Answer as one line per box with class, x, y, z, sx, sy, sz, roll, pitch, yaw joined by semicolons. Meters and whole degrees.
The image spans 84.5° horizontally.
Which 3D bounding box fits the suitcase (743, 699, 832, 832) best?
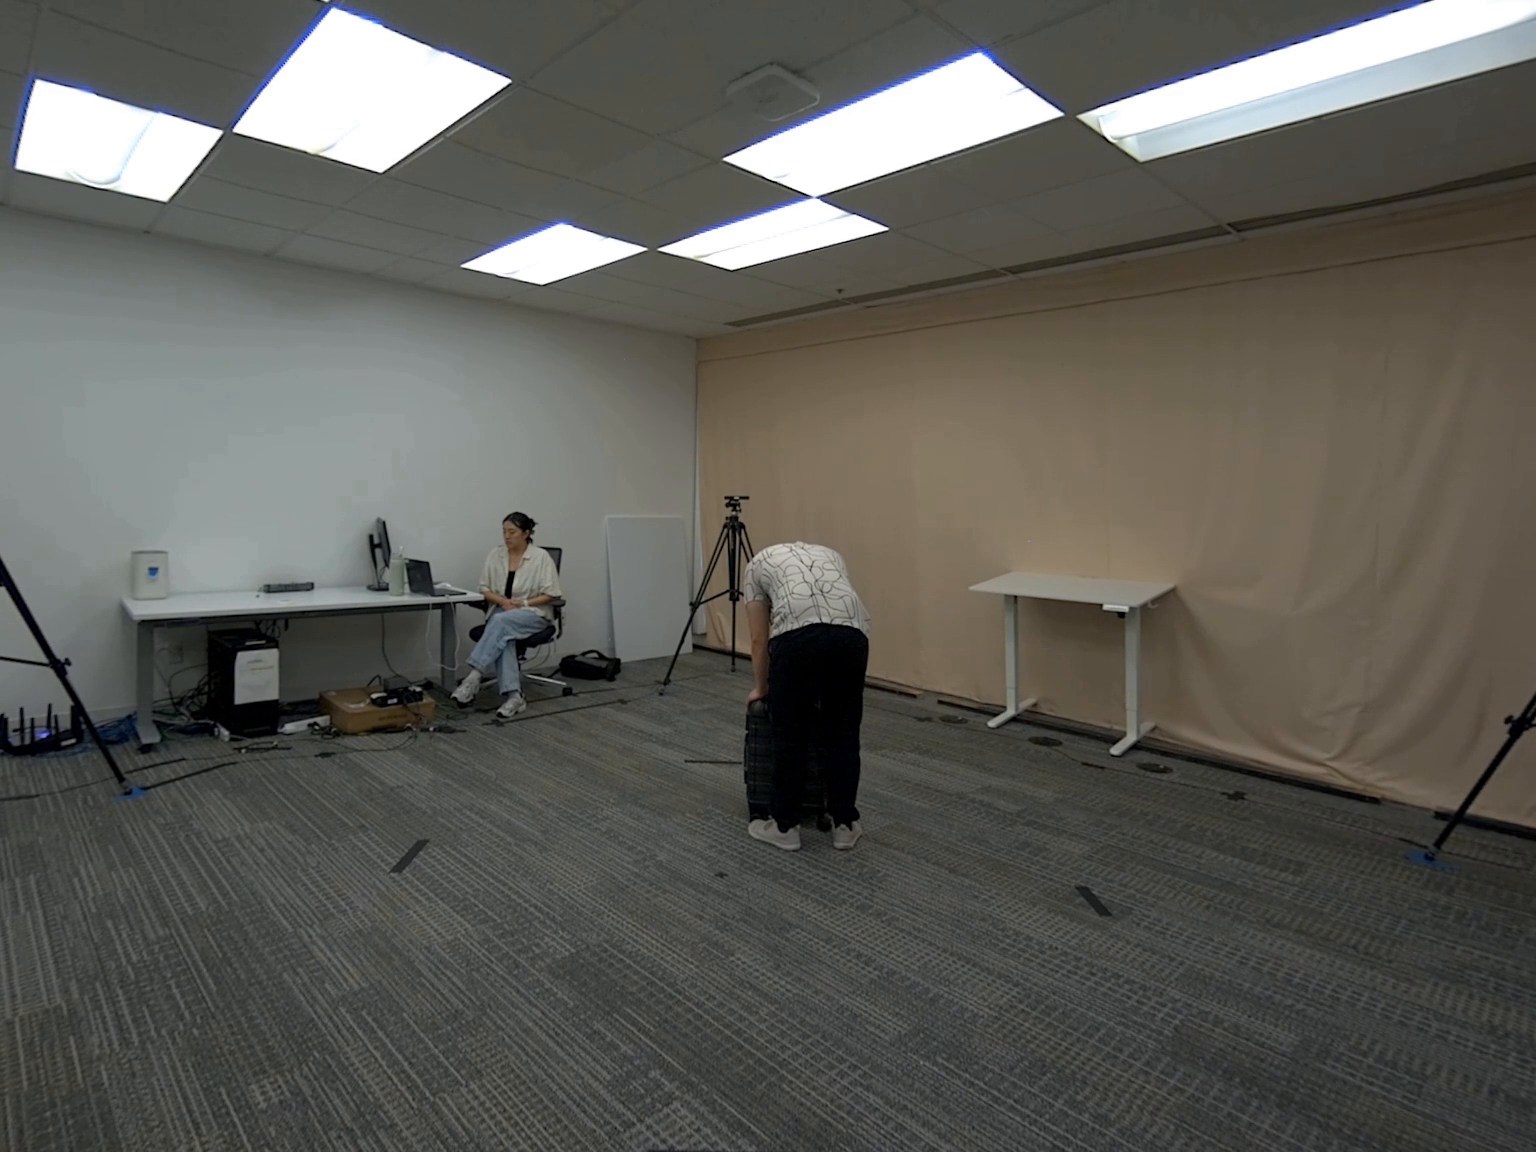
suitcase;0.081;0.785;3.686;0.377;0.549;0.247;1;1;4
